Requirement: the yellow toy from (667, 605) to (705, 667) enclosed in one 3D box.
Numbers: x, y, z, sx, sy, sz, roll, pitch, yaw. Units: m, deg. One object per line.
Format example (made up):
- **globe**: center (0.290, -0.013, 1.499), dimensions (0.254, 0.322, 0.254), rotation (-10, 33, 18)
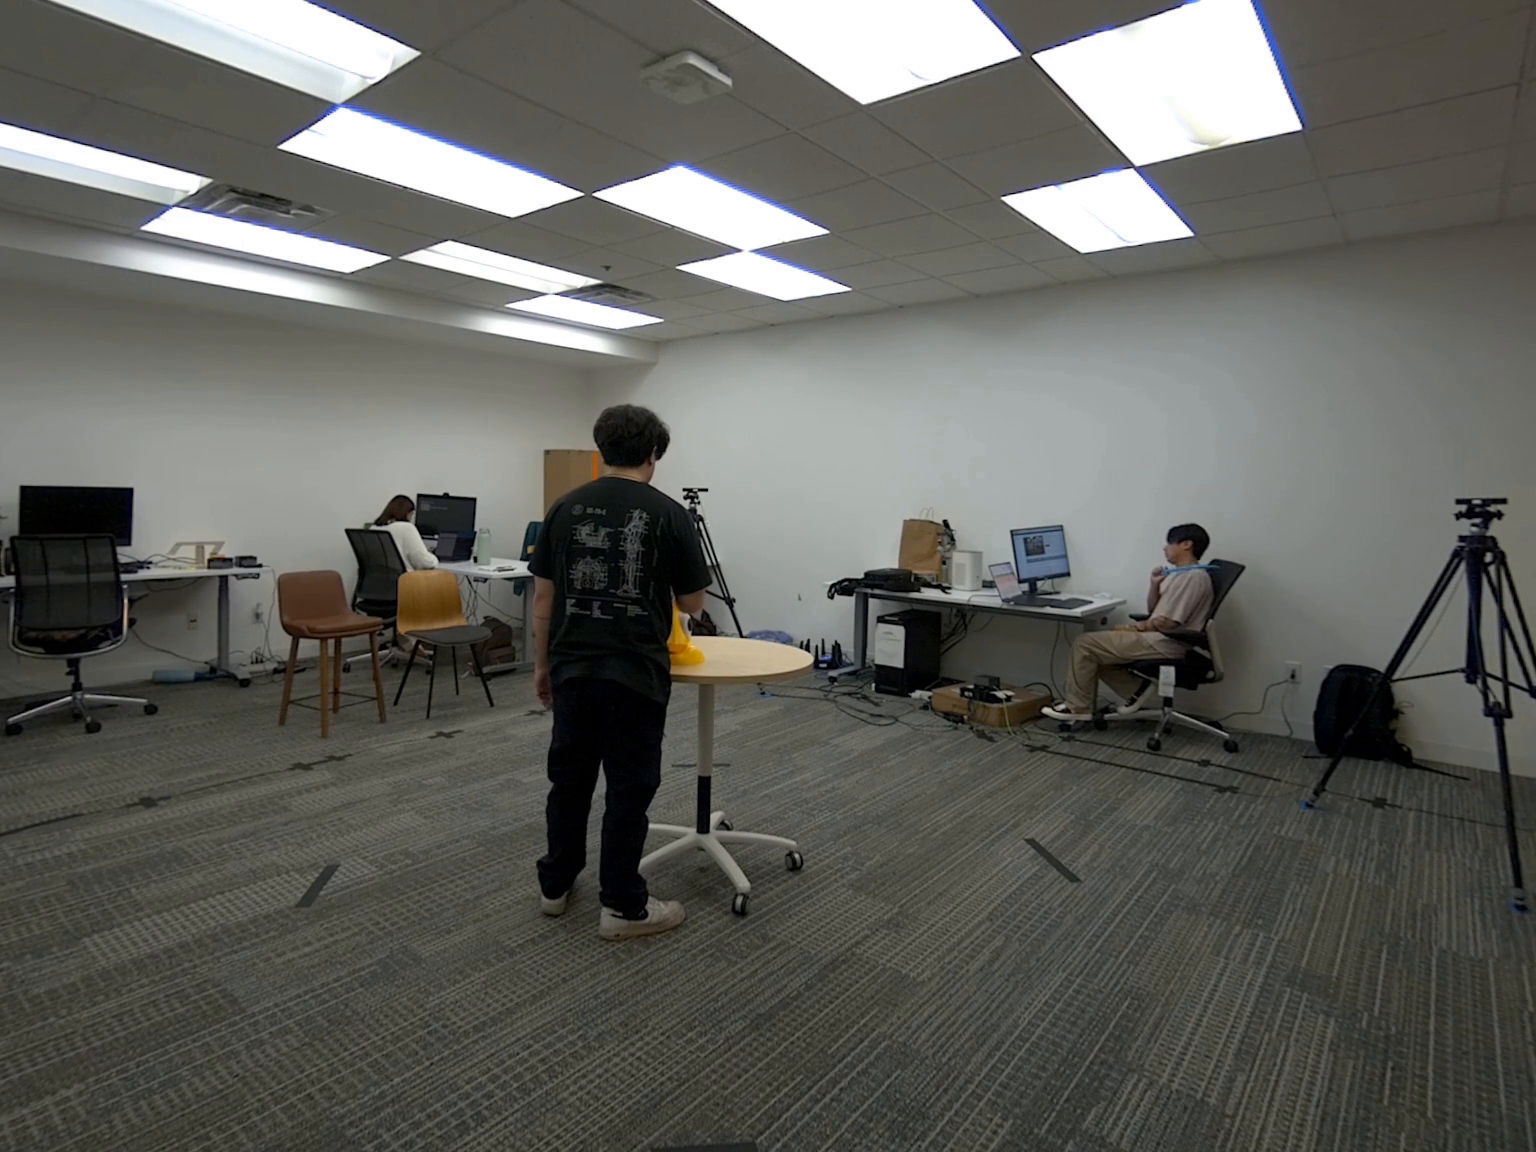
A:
- **yellow toy**: center (-0.336, 0.175, 2.939), dimensions (0.211, 0.230, 0.187), rotation (3, 5, 41)
